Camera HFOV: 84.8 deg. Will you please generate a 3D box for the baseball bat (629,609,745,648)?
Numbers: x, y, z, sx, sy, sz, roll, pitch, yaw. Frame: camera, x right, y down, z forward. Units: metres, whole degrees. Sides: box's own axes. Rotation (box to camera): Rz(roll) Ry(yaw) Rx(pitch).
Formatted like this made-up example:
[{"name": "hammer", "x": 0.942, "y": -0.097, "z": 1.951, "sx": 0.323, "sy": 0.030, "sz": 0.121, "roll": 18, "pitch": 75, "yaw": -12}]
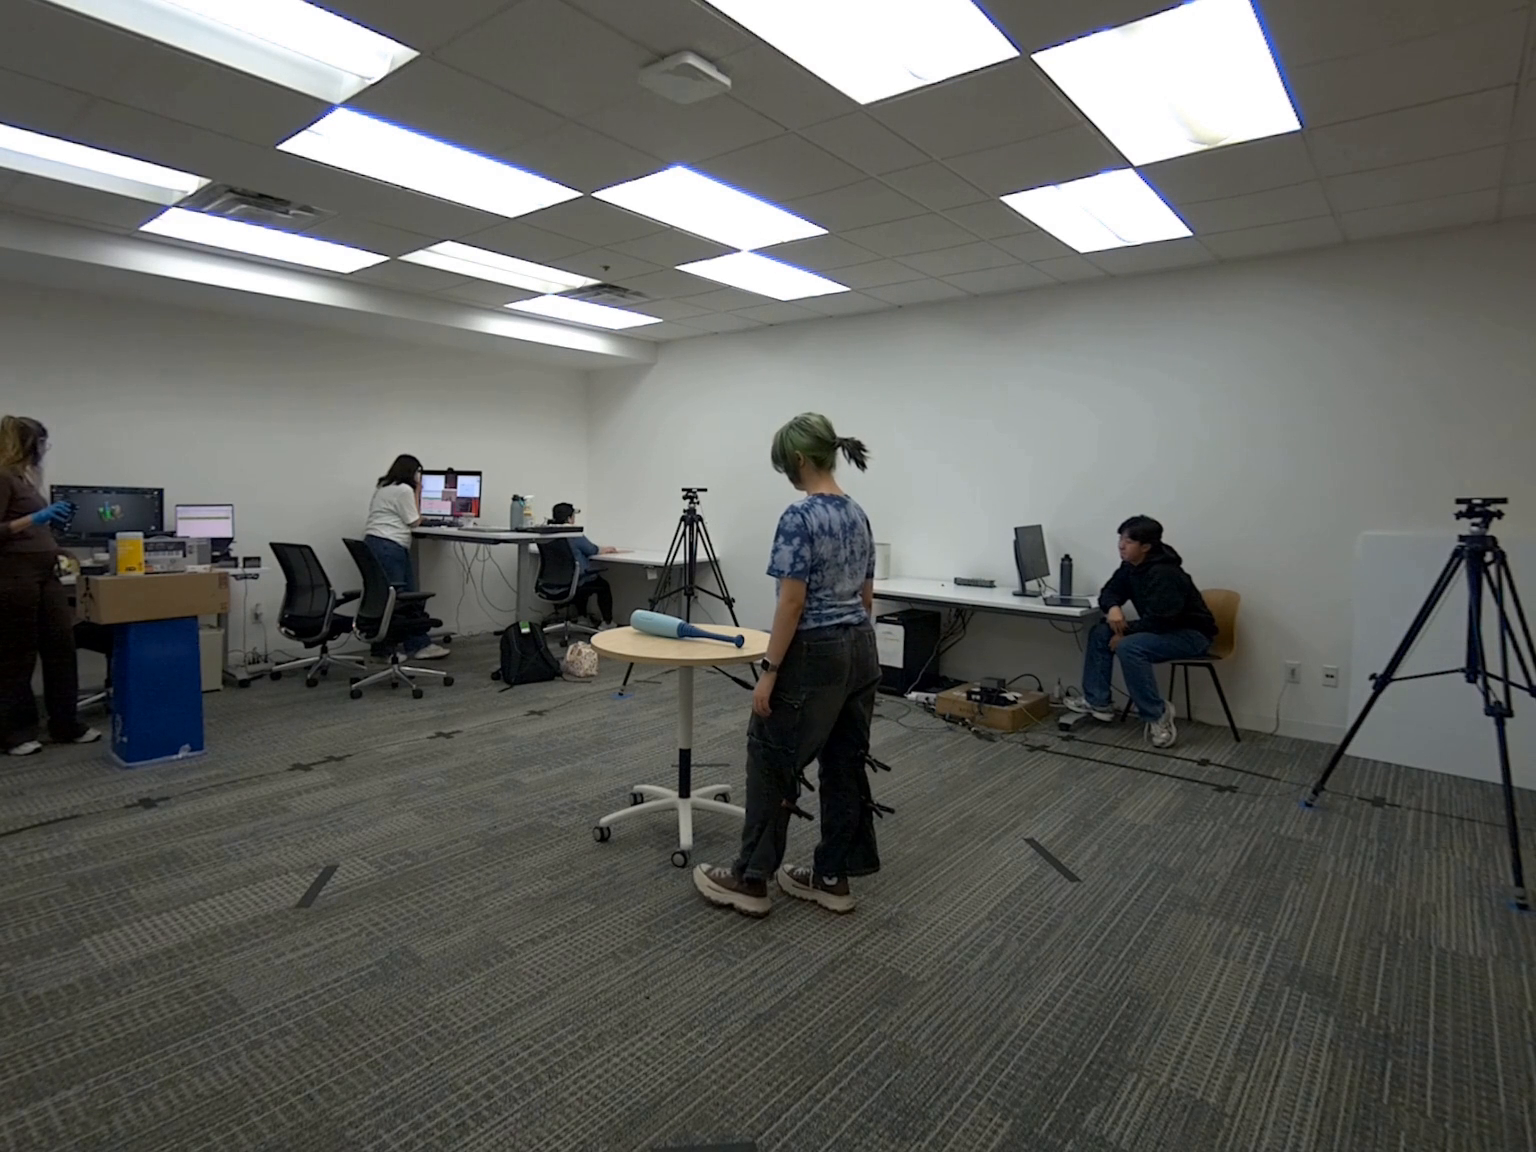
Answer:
[{"name": "baseball bat", "x": -0.334, "y": 0.219, "z": 3.415, "sx": 0.561, "sy": 0.088, "sz": 0.086, "roll": 9, "pitch": 8, "yaw": 33}]
